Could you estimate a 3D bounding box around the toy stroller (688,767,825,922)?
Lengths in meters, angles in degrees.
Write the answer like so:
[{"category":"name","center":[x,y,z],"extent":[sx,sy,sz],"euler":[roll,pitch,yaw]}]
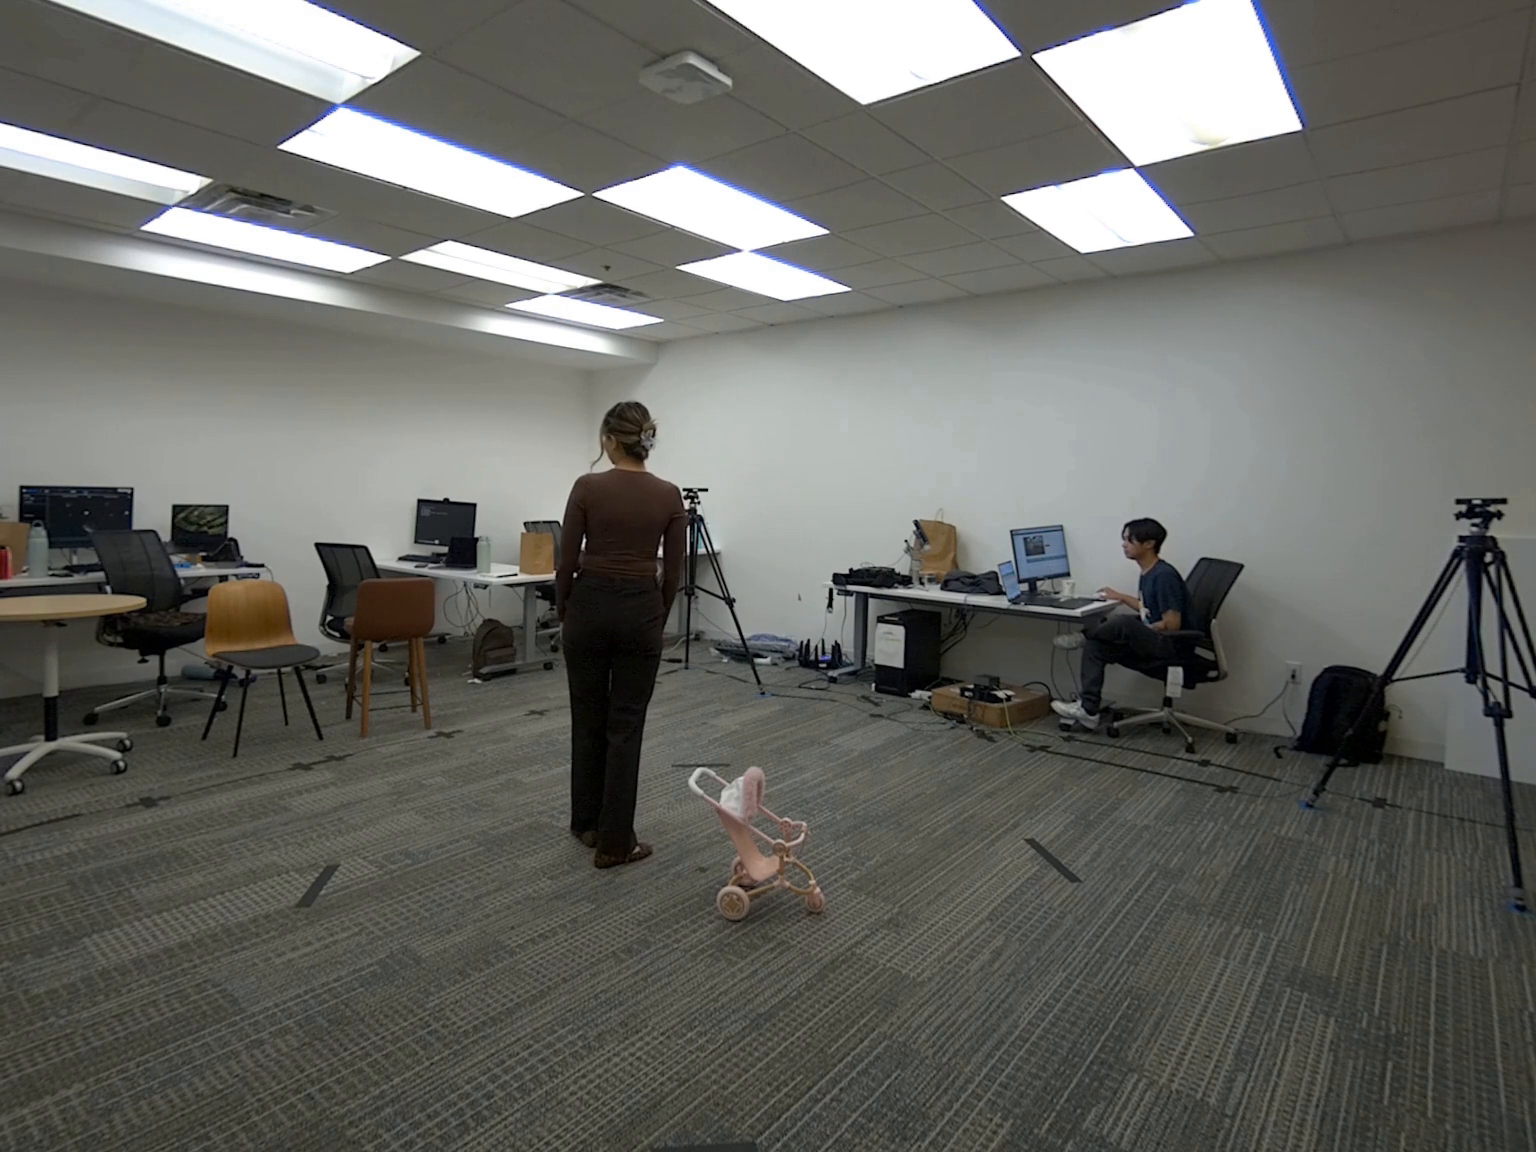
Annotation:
[{"category":"toy stroller","center":[-0.039,0.877,2.837],"extent":[0.345,0.536,0.277],"euler":[-16,-1,15]}]
